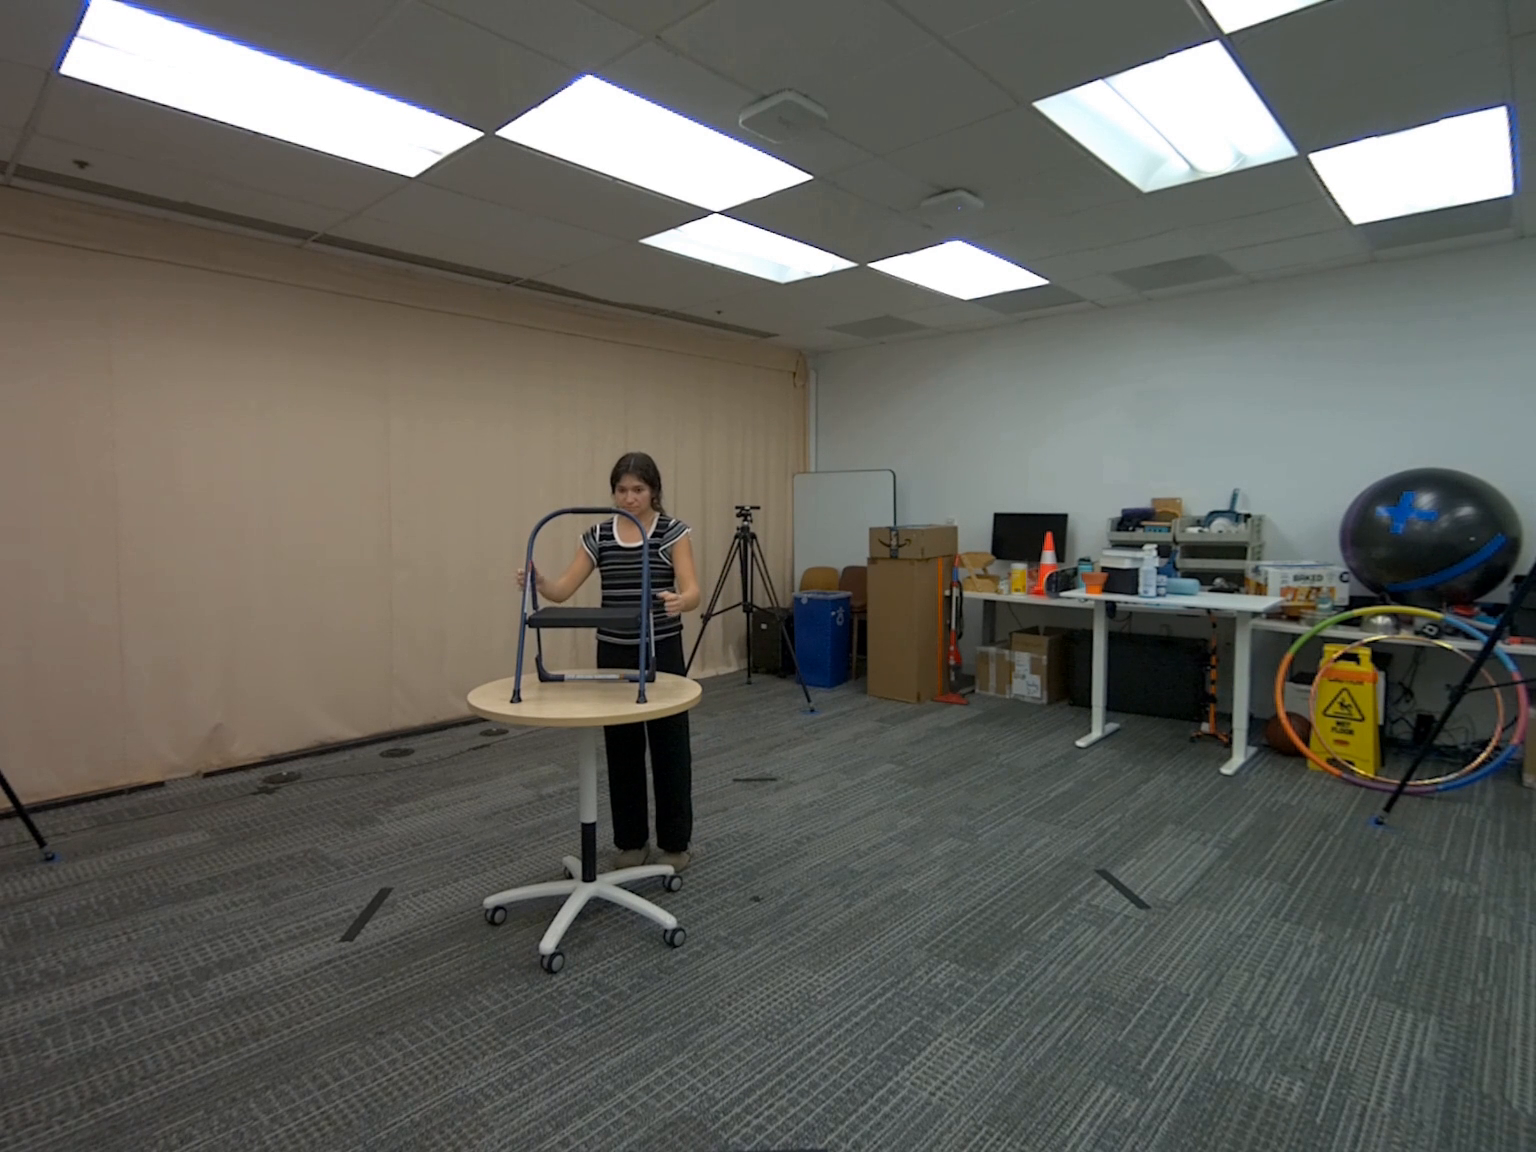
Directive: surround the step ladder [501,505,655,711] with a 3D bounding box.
[{"bbox_3d":[-0.595,0.086,2.764,0.431,0.605,0.349,3,2,0],"label":"step ladder"}]
